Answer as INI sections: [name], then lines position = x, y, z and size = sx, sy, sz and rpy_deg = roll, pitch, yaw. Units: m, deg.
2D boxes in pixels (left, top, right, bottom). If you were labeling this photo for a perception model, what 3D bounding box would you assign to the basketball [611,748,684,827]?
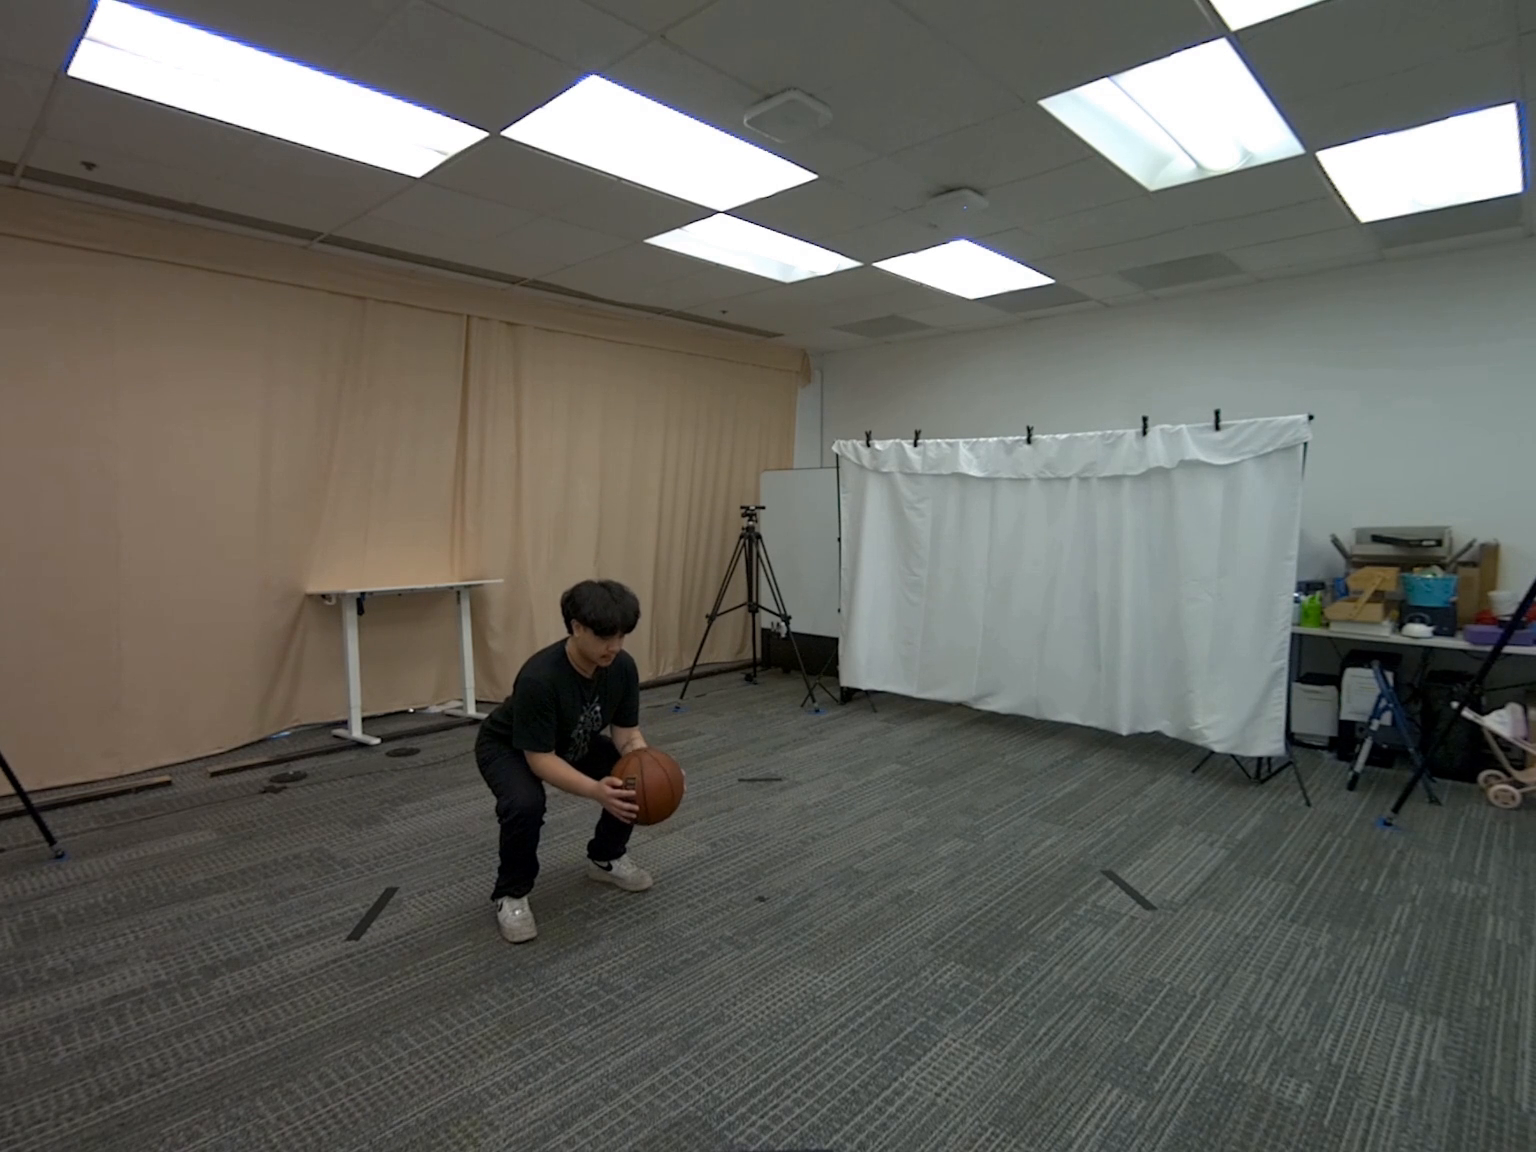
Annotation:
[basketball]
position = -0.387, 0.668, 2.649
size = 0.236, 0.235, 0.237
rpy_deg = 0, 4, -2
